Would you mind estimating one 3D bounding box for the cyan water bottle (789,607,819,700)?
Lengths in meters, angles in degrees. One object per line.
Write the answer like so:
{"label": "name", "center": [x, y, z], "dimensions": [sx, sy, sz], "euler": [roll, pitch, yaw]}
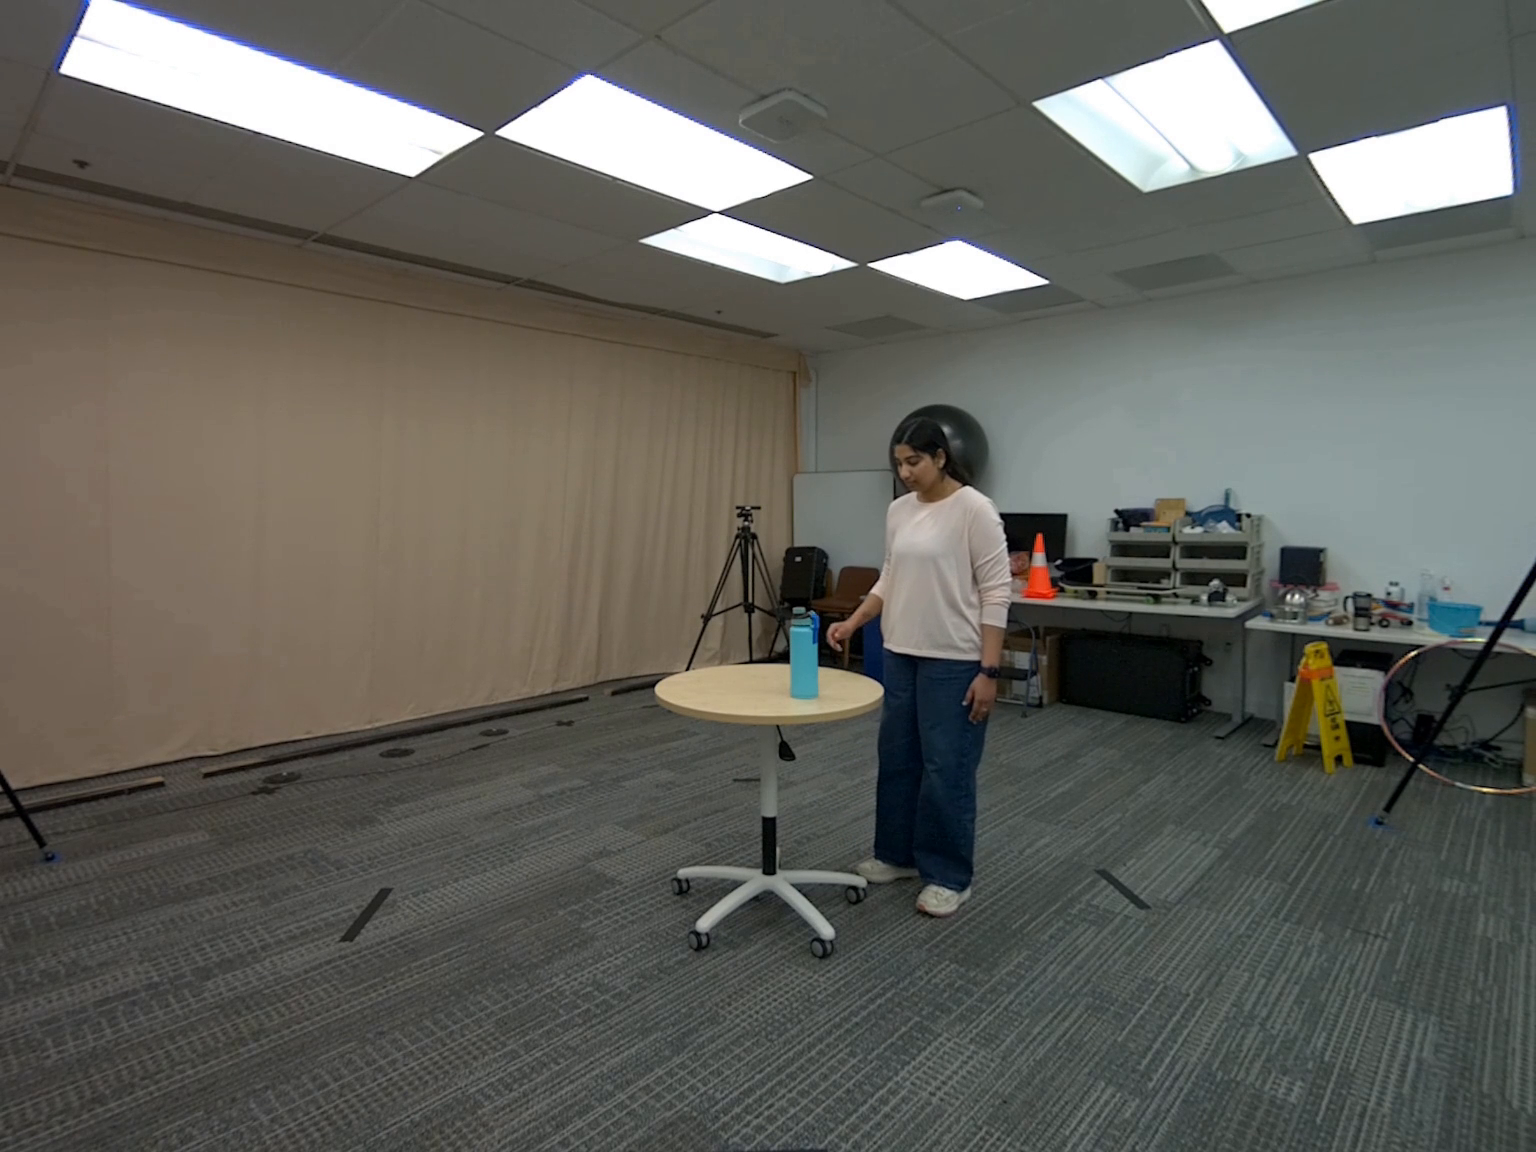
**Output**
{"label": "cyan water bottle", "center": [0.123, 0.250, 2.684], "dimensions": [0.092, 0.283, 0.092], "euler": [0, 3, -2]}
